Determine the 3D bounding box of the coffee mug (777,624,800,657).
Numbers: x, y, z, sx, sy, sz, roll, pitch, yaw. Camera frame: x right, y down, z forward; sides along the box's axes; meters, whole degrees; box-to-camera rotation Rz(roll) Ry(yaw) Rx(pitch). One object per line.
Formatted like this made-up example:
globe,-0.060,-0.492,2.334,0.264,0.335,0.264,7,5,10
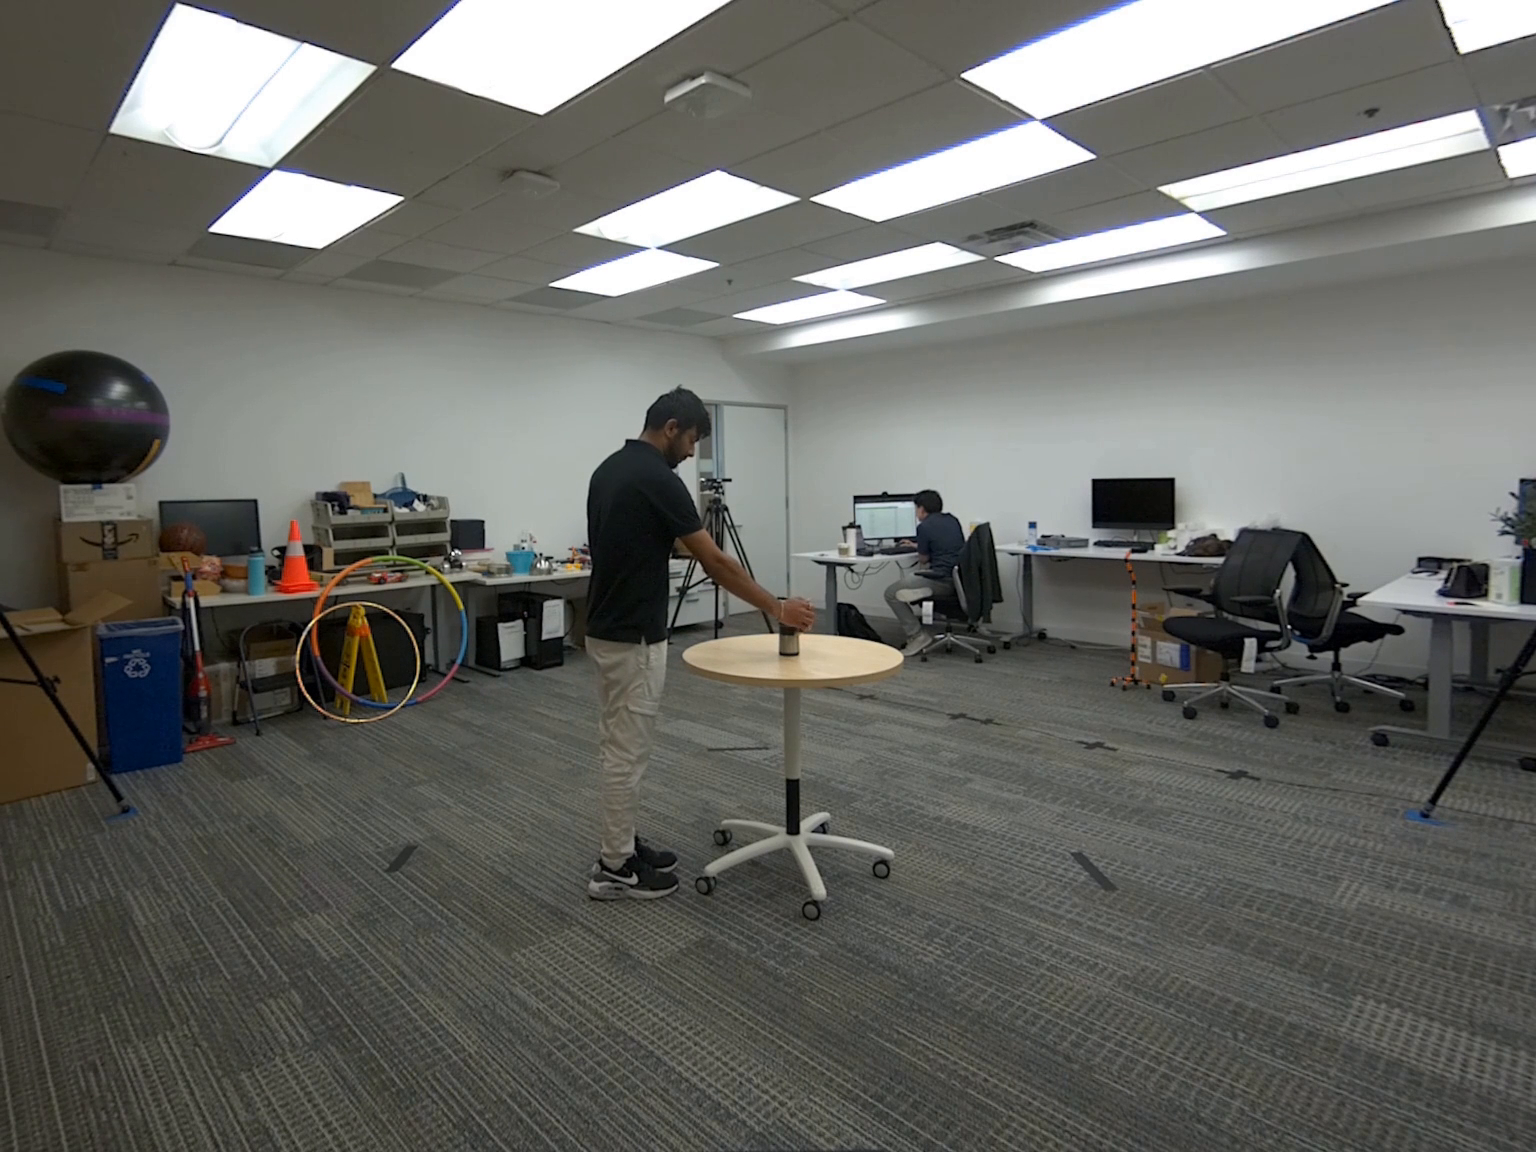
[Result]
coffee mug,0.065,0.181,2.943,0.090,0.202,0.119,7,8,29
